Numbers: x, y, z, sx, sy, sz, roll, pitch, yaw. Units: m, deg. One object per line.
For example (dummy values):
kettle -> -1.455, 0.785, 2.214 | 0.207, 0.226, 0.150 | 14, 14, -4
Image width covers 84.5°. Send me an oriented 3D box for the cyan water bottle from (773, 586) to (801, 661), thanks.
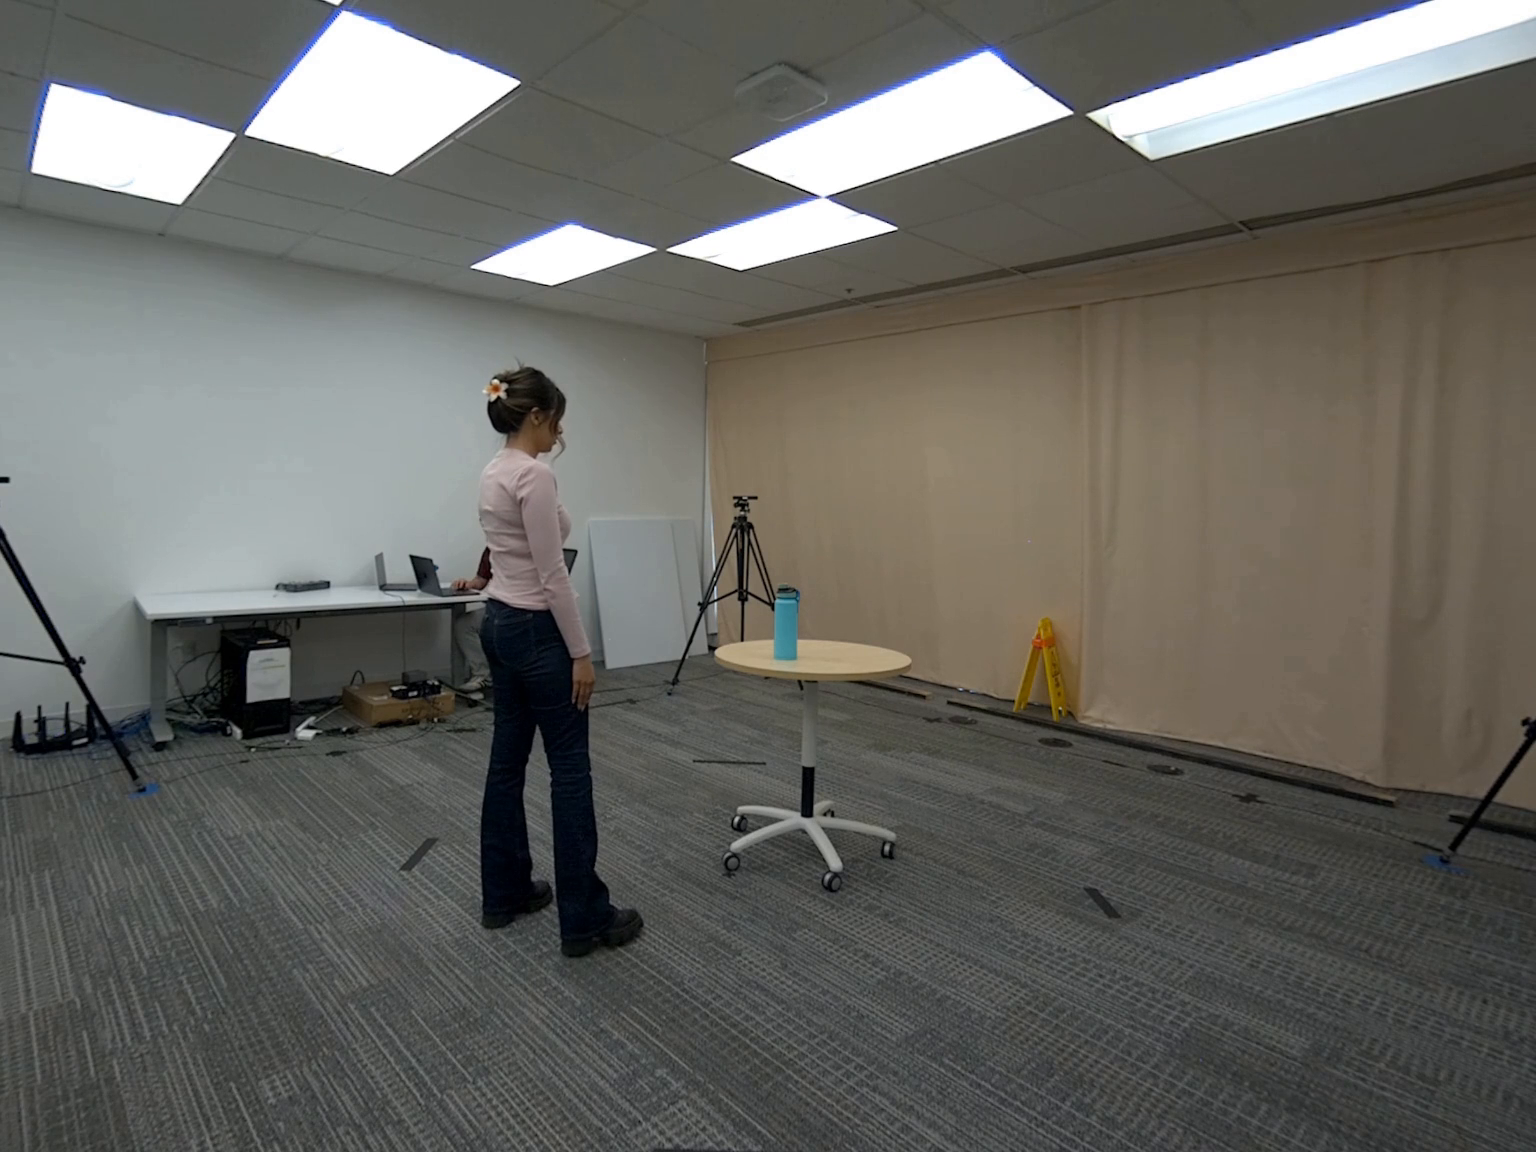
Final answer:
cyan water bottle -> 0.069, 0.175, 3.205 | 0.092, 0.283, 0.092 | 2, 1, -1
